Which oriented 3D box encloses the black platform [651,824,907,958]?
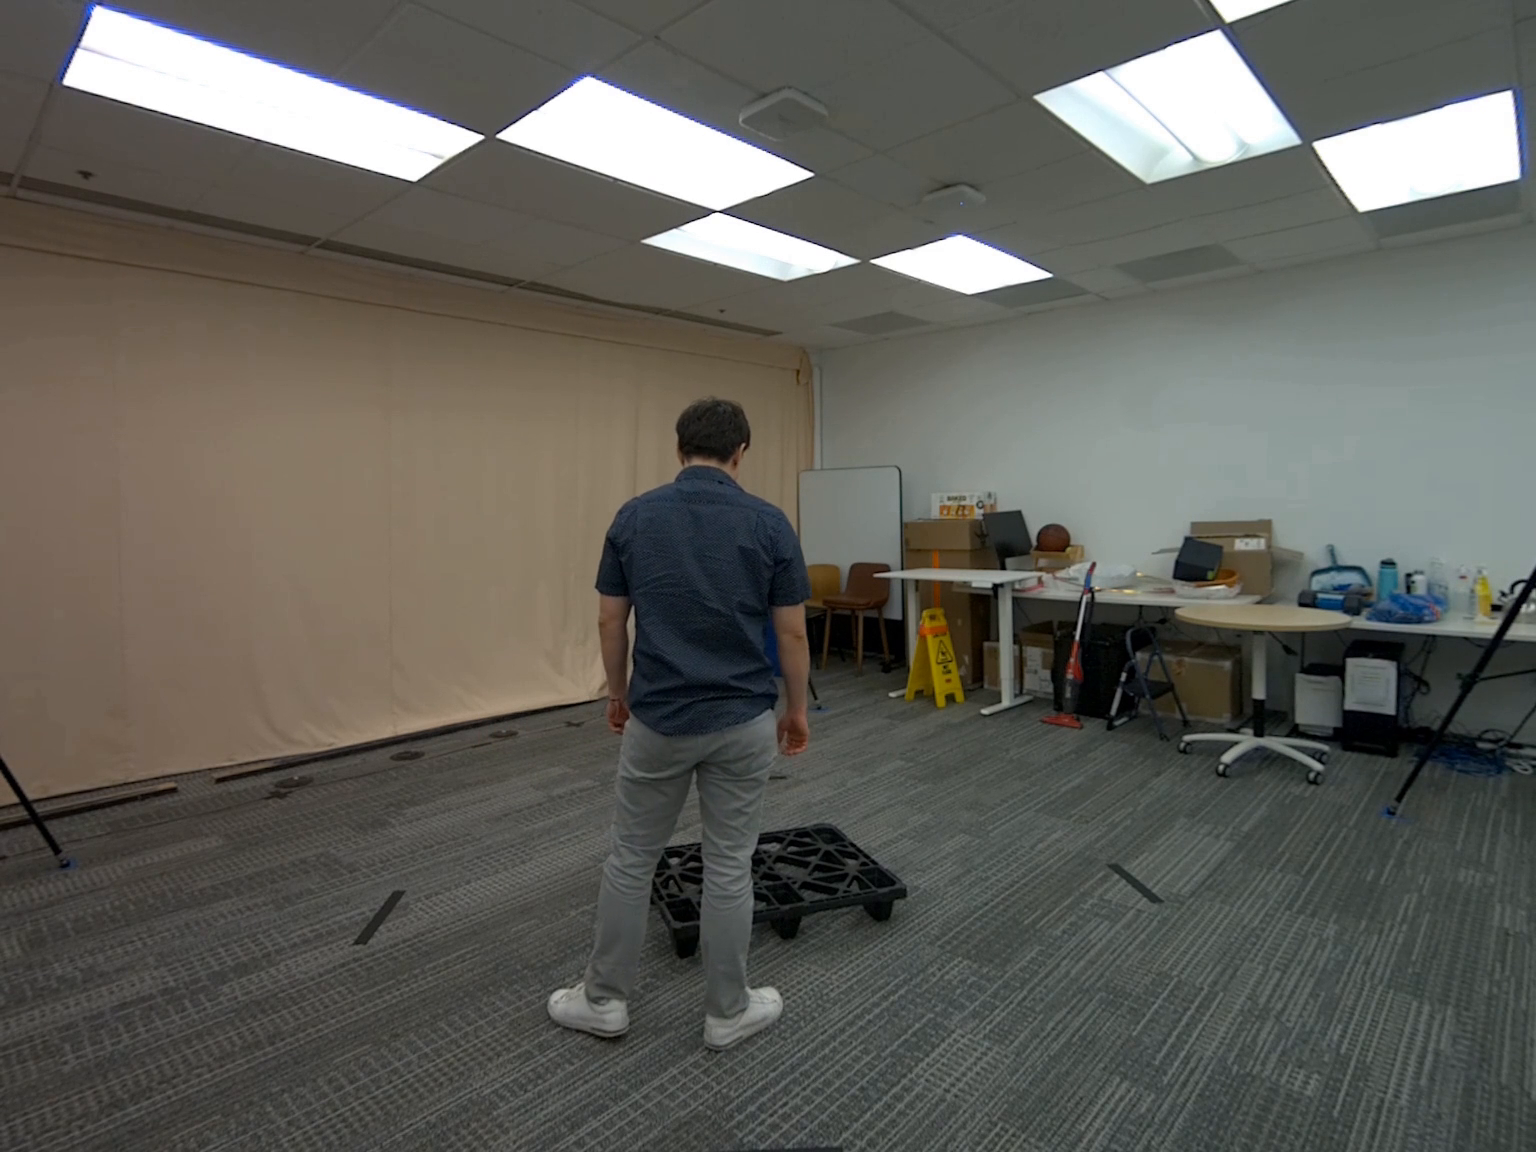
[{"bbox_3d":[-0.018,1.076,2.920,0.791,0.143,0.618,-2,5,-19],"label":"black platform"}]
